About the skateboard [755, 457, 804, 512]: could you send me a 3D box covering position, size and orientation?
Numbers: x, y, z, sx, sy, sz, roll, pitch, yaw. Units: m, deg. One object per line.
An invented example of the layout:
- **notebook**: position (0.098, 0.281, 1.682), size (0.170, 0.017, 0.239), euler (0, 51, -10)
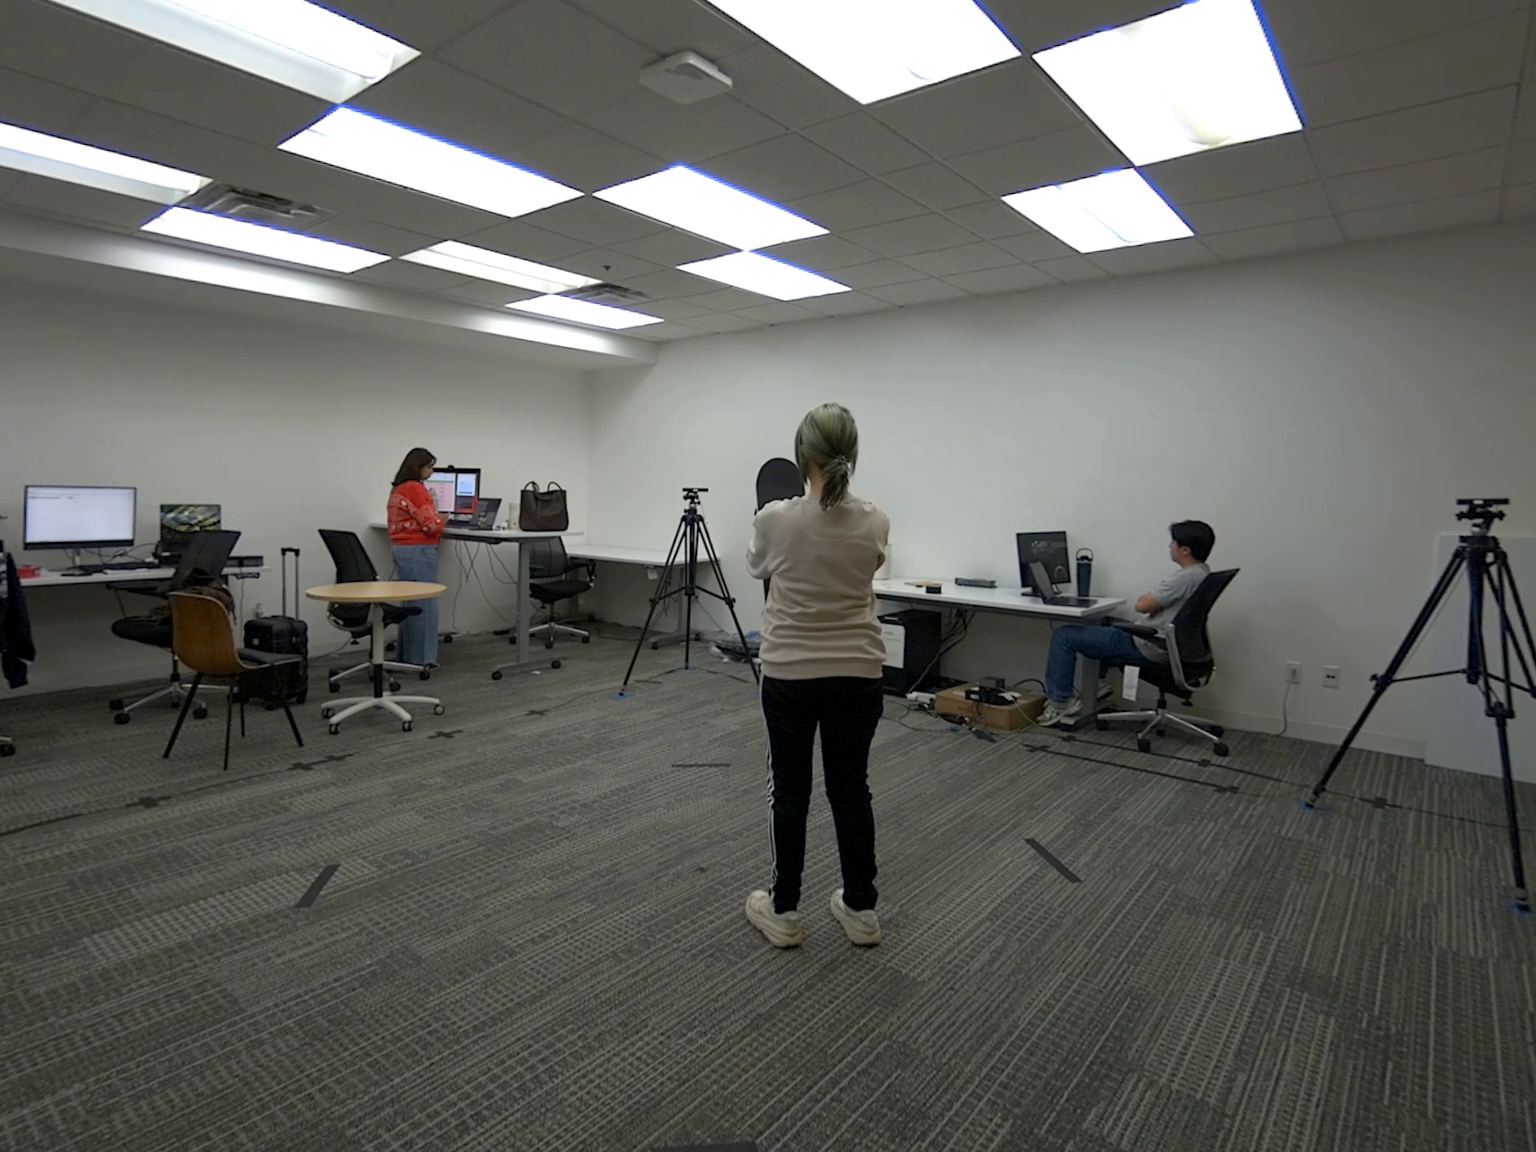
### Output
- **skateboard**: position (0.046, -0.053, 3.181), size (0.192, 0.799, 0.109), euler (-3, -16, -8)
